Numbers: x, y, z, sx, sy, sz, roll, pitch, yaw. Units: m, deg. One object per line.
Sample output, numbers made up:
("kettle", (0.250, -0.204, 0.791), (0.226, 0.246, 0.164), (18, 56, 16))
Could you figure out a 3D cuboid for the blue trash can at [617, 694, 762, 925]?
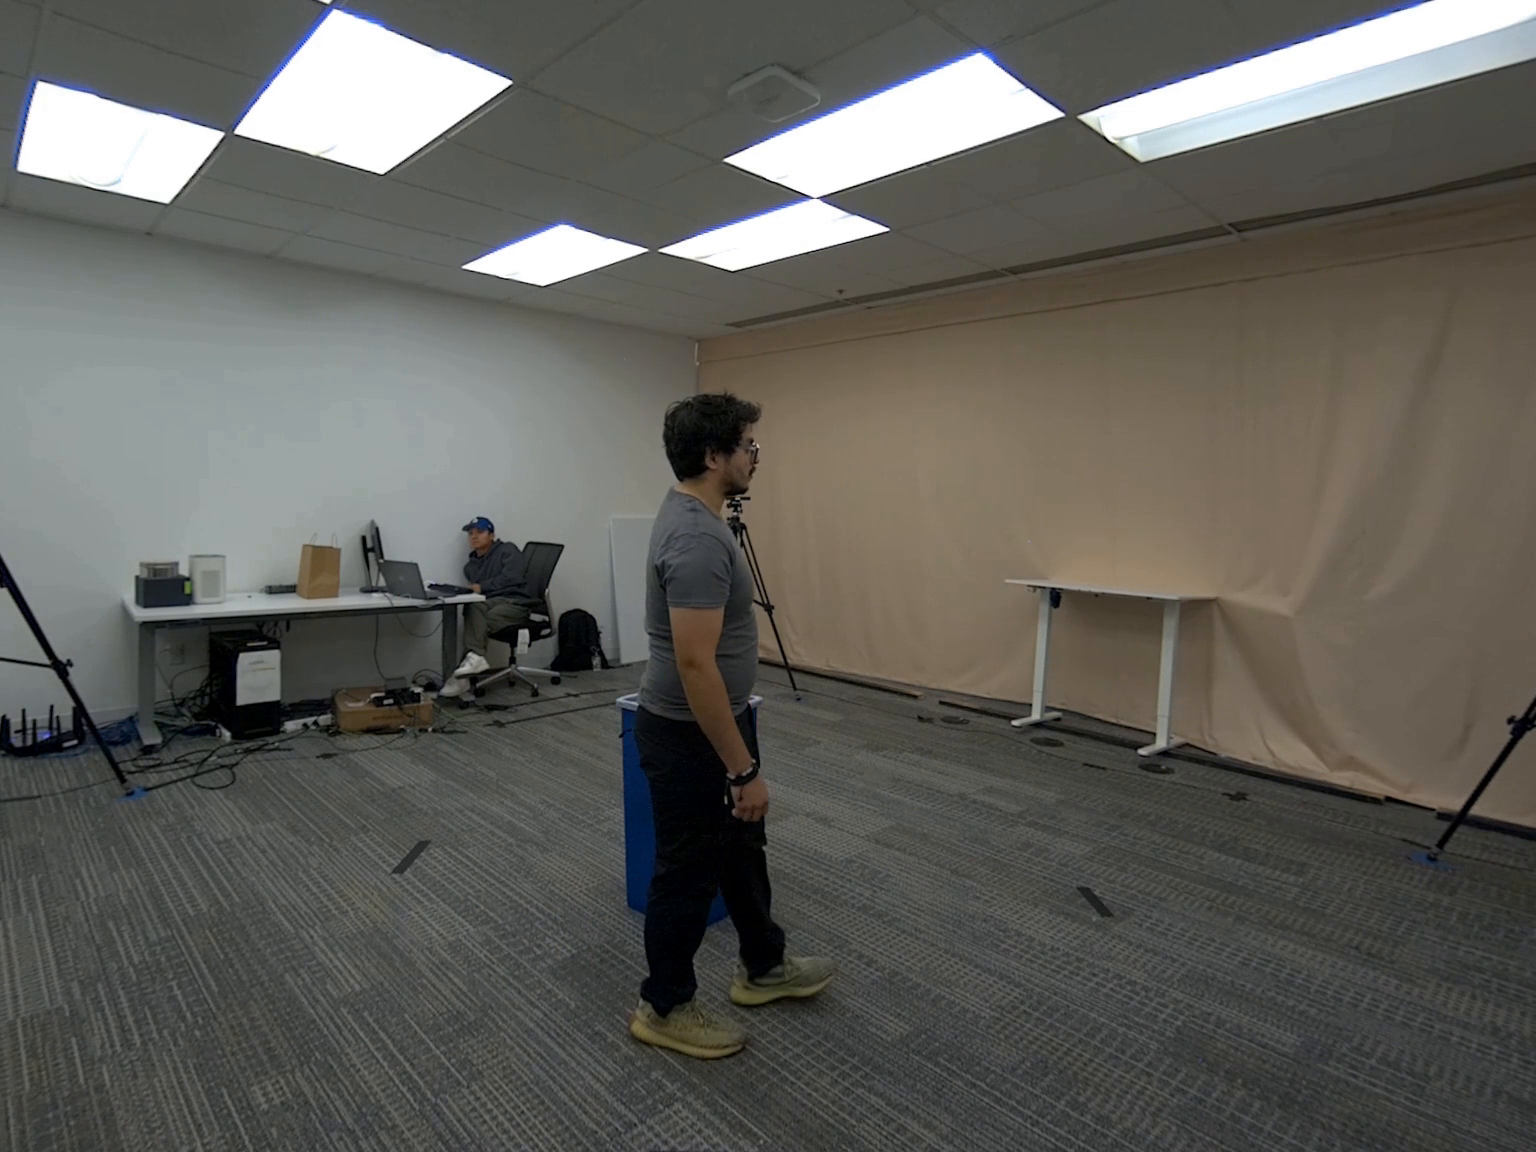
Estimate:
("blue trash can", (-0.281, 0.770, 2.860), (0.383, 0.712, 0.369), (4, 4, 40))
